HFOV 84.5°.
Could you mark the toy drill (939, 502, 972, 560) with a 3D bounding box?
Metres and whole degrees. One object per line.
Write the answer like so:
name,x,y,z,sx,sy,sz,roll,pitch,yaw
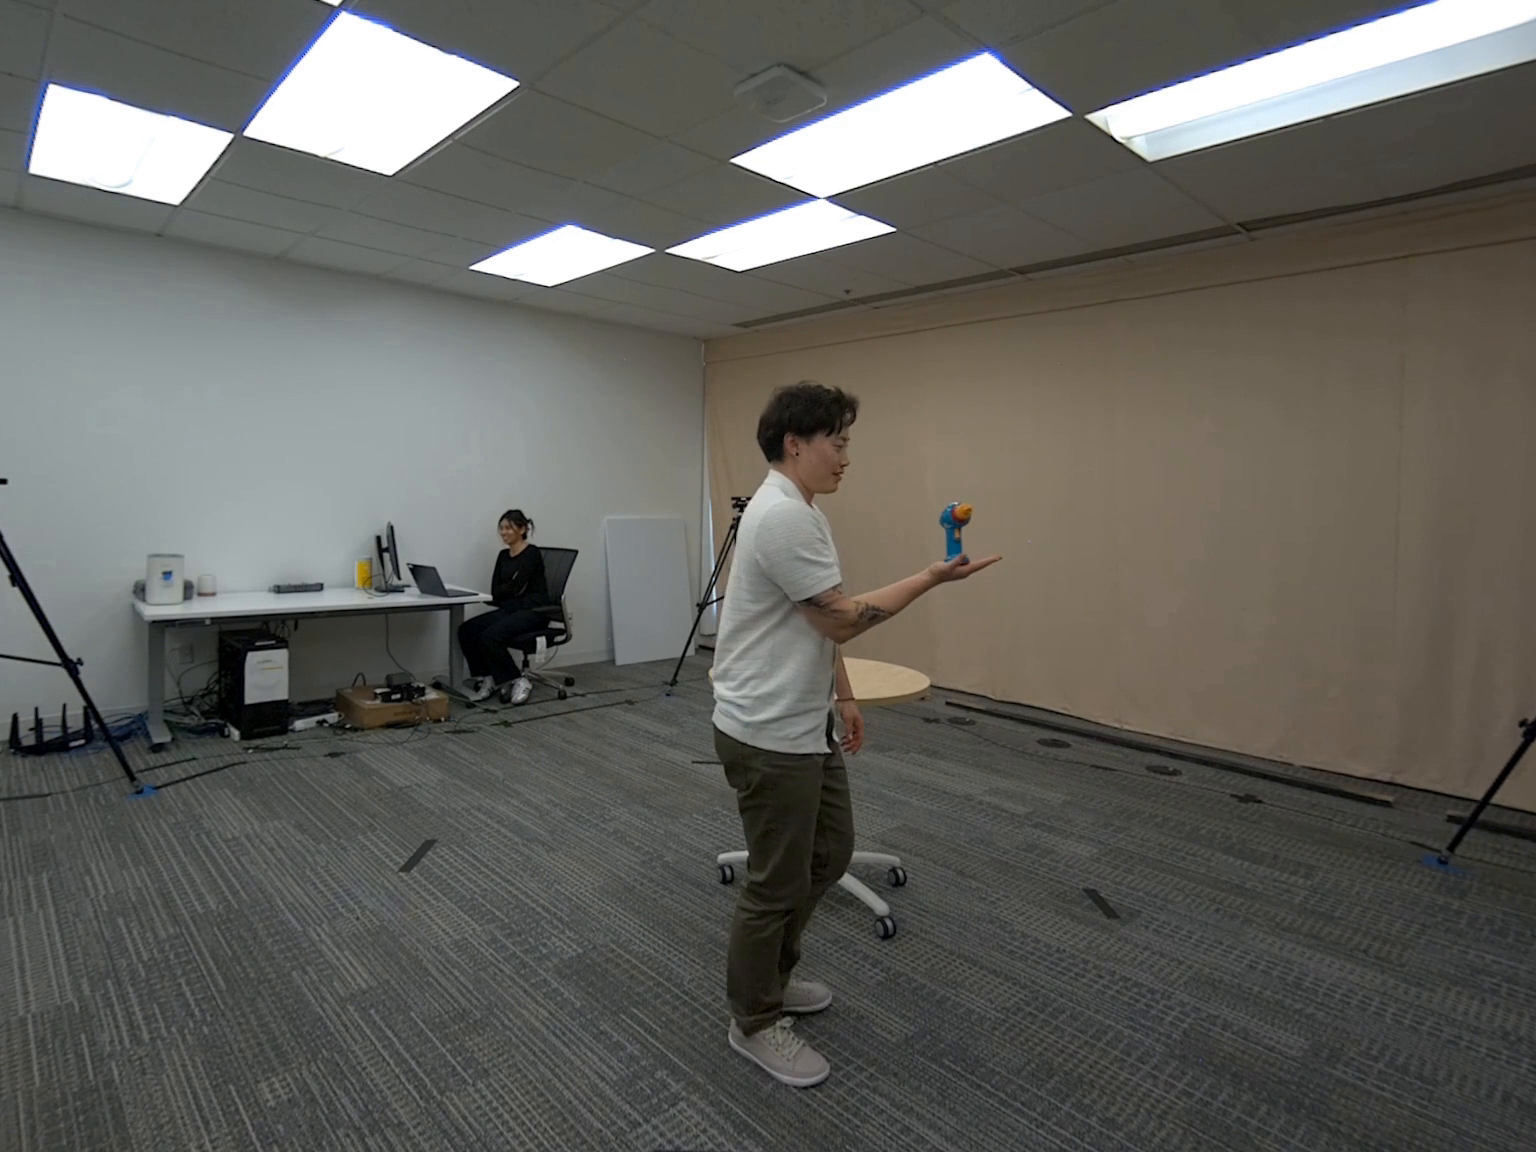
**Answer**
toy drill,0.437,-0.101,1.921,0.061,0.147,0.169,0,-9,-8
